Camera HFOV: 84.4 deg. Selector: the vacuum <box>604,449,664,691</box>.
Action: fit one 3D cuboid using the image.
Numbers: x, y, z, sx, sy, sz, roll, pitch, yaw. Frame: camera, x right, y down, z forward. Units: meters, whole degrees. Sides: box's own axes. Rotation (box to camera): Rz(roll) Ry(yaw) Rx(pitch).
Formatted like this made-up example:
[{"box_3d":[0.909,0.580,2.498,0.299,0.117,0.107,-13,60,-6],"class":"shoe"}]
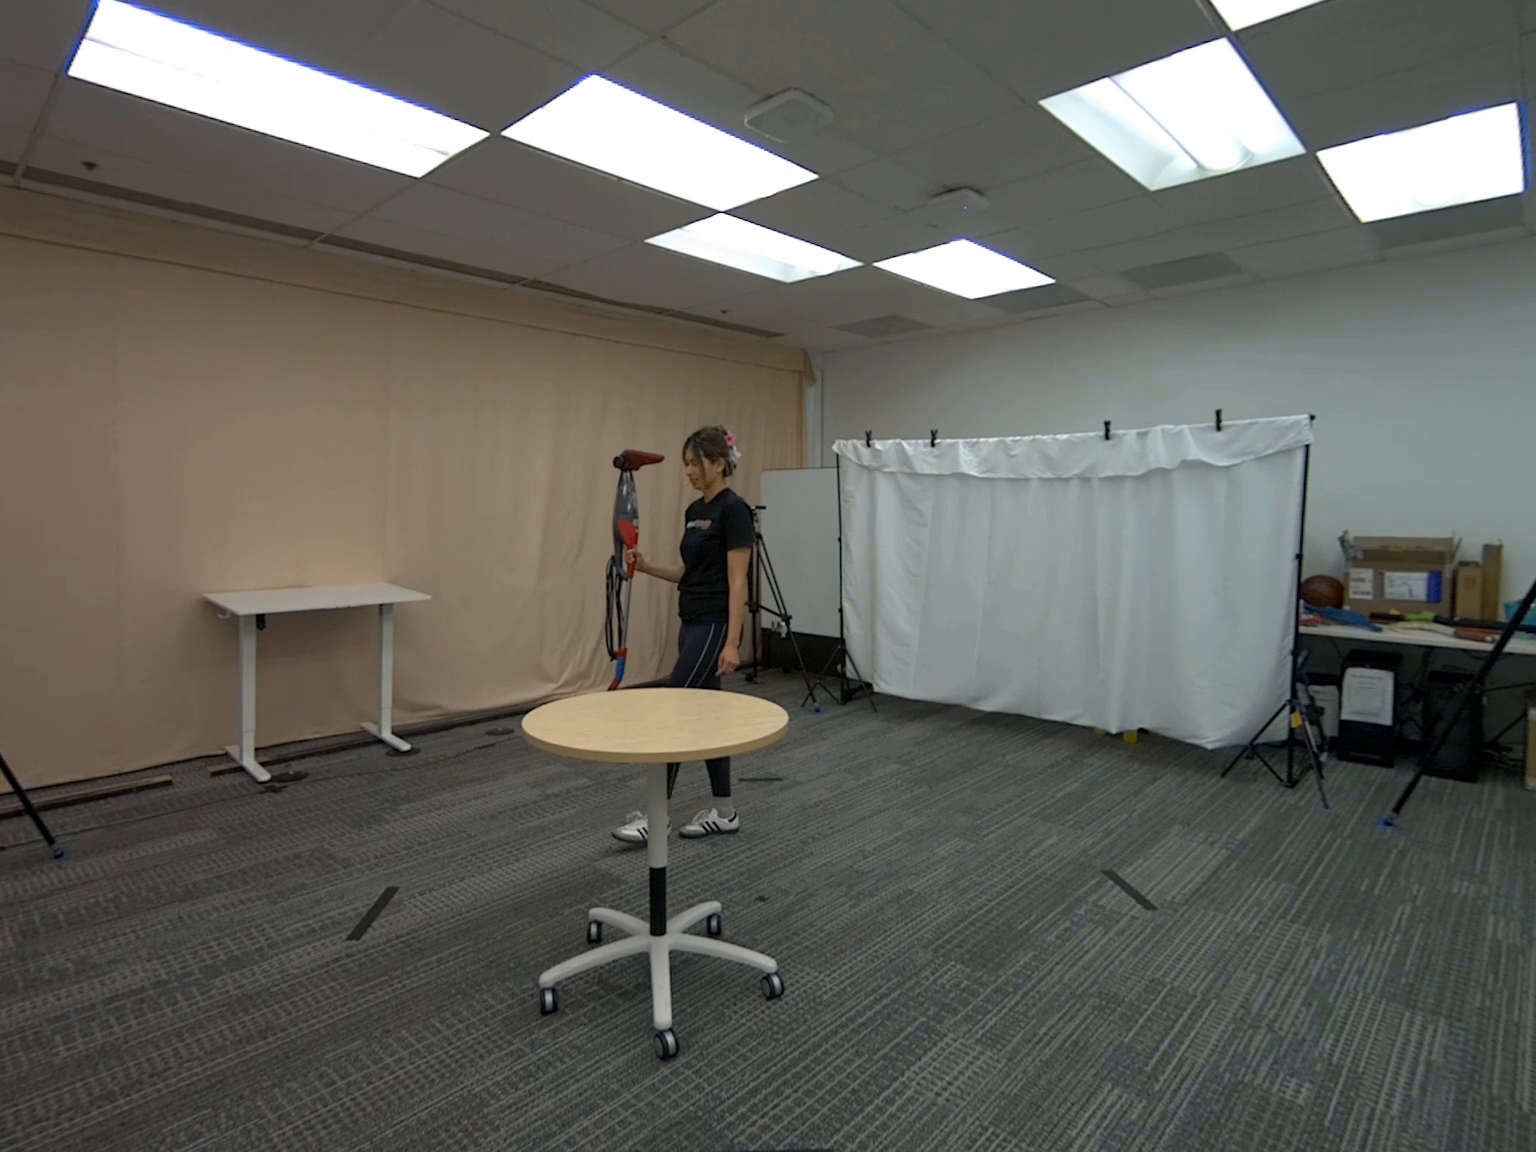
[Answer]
[{"box_3d":[-0.634,0.014,3.629,0.149,1.047,0.245,10,6,33],"class":"vacuum"}]
